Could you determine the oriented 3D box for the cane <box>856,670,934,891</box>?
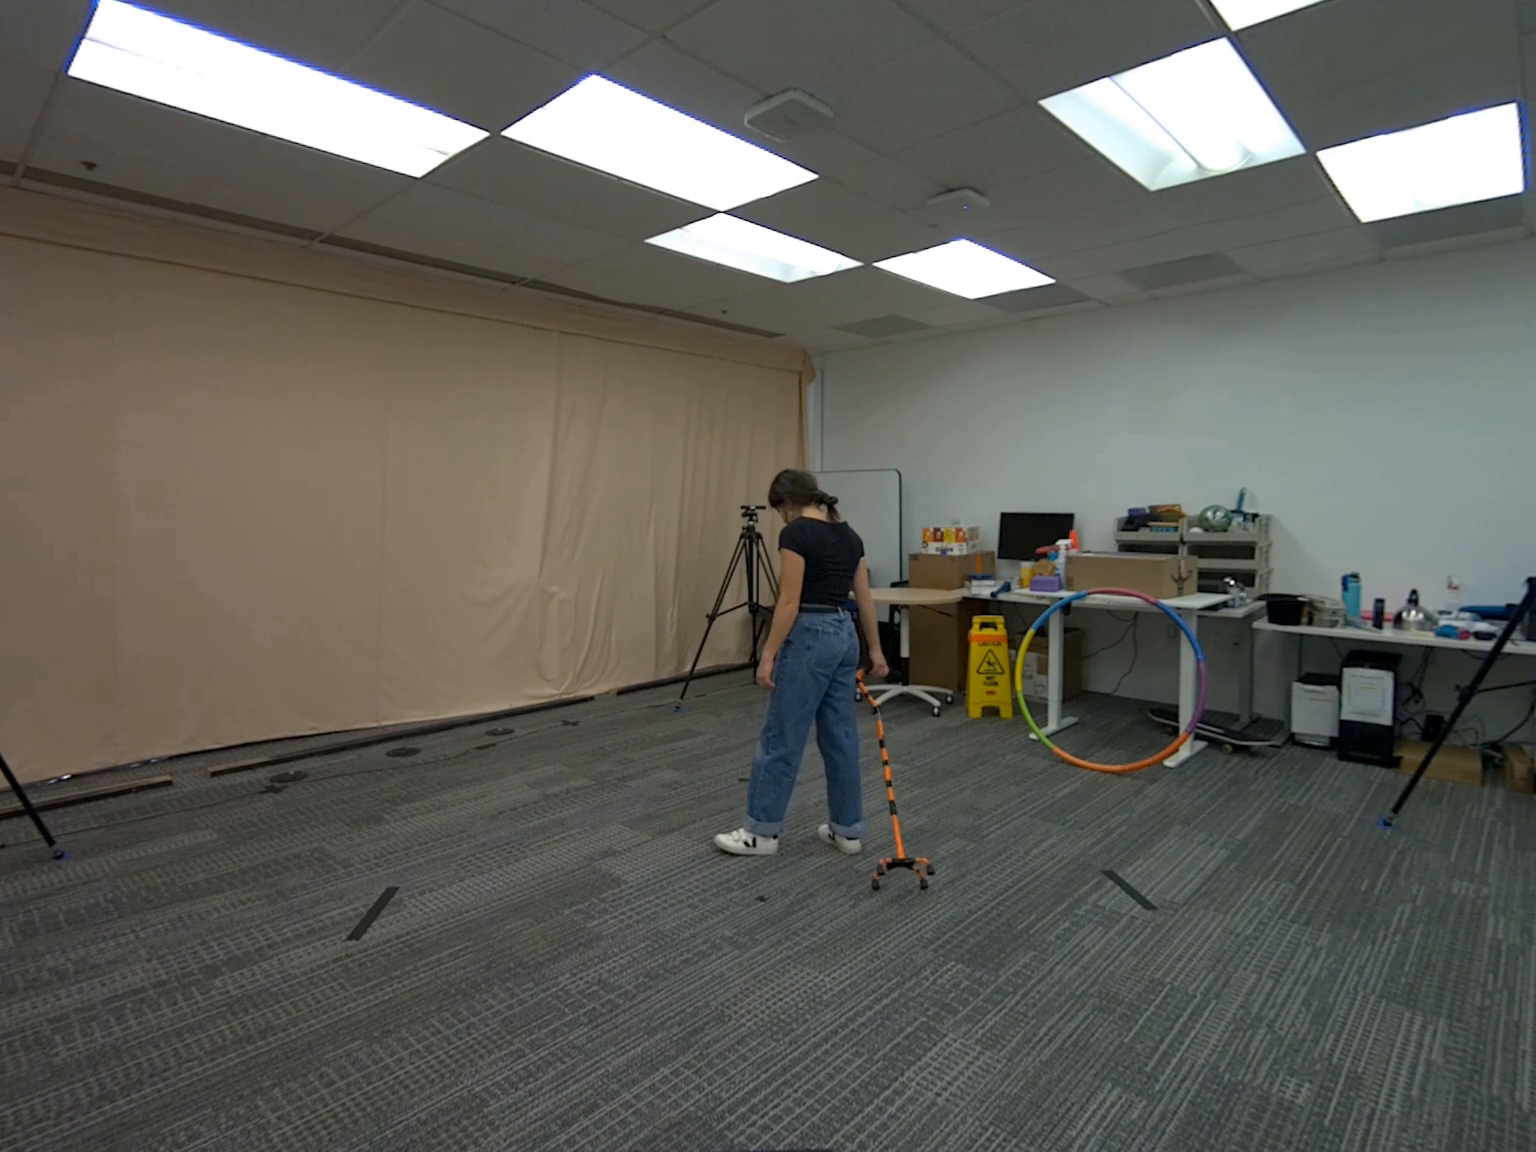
[{"bbox_3d":[0.478,0.750,3.300,0.206,0.149,0.925,-1,47,-2],"label":"cane"}]
